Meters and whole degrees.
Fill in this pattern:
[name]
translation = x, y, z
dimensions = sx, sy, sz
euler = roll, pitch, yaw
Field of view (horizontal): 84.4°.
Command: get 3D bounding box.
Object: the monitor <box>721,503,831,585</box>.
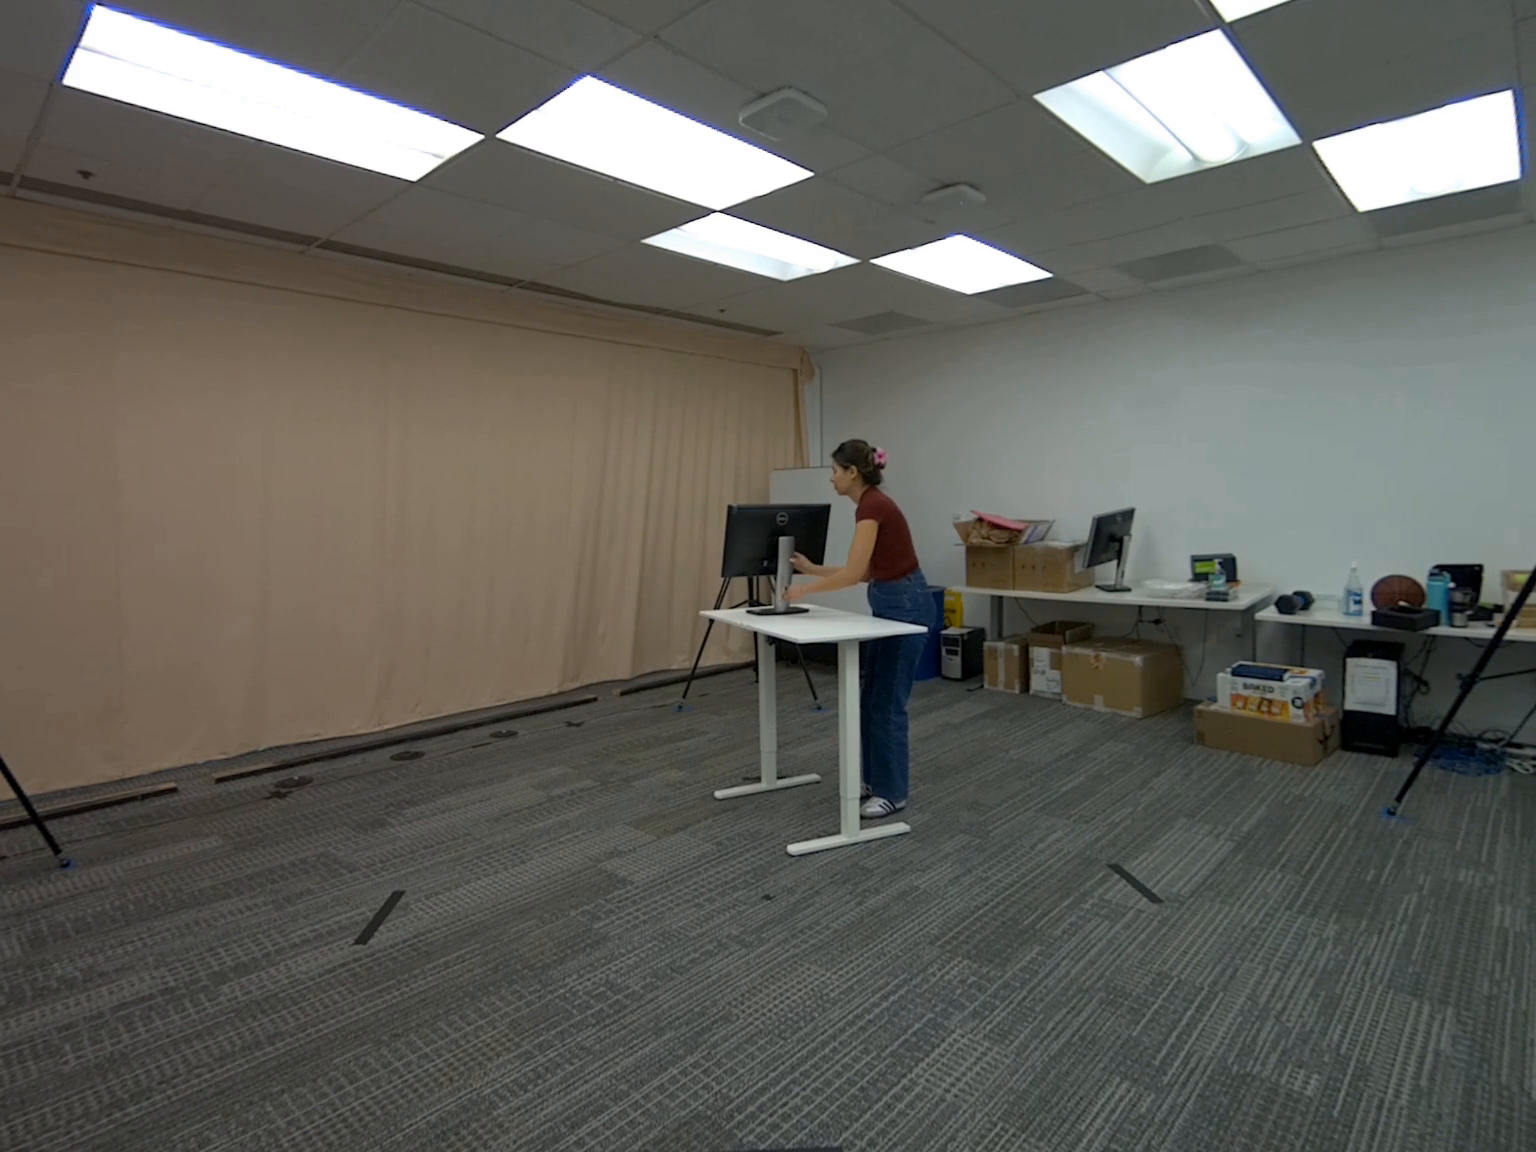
[monitor]
translation = 0.060, -0.077, 3.975
dimensions = 0.527, 0.521, 0.192
euler = -2, 6, -24
